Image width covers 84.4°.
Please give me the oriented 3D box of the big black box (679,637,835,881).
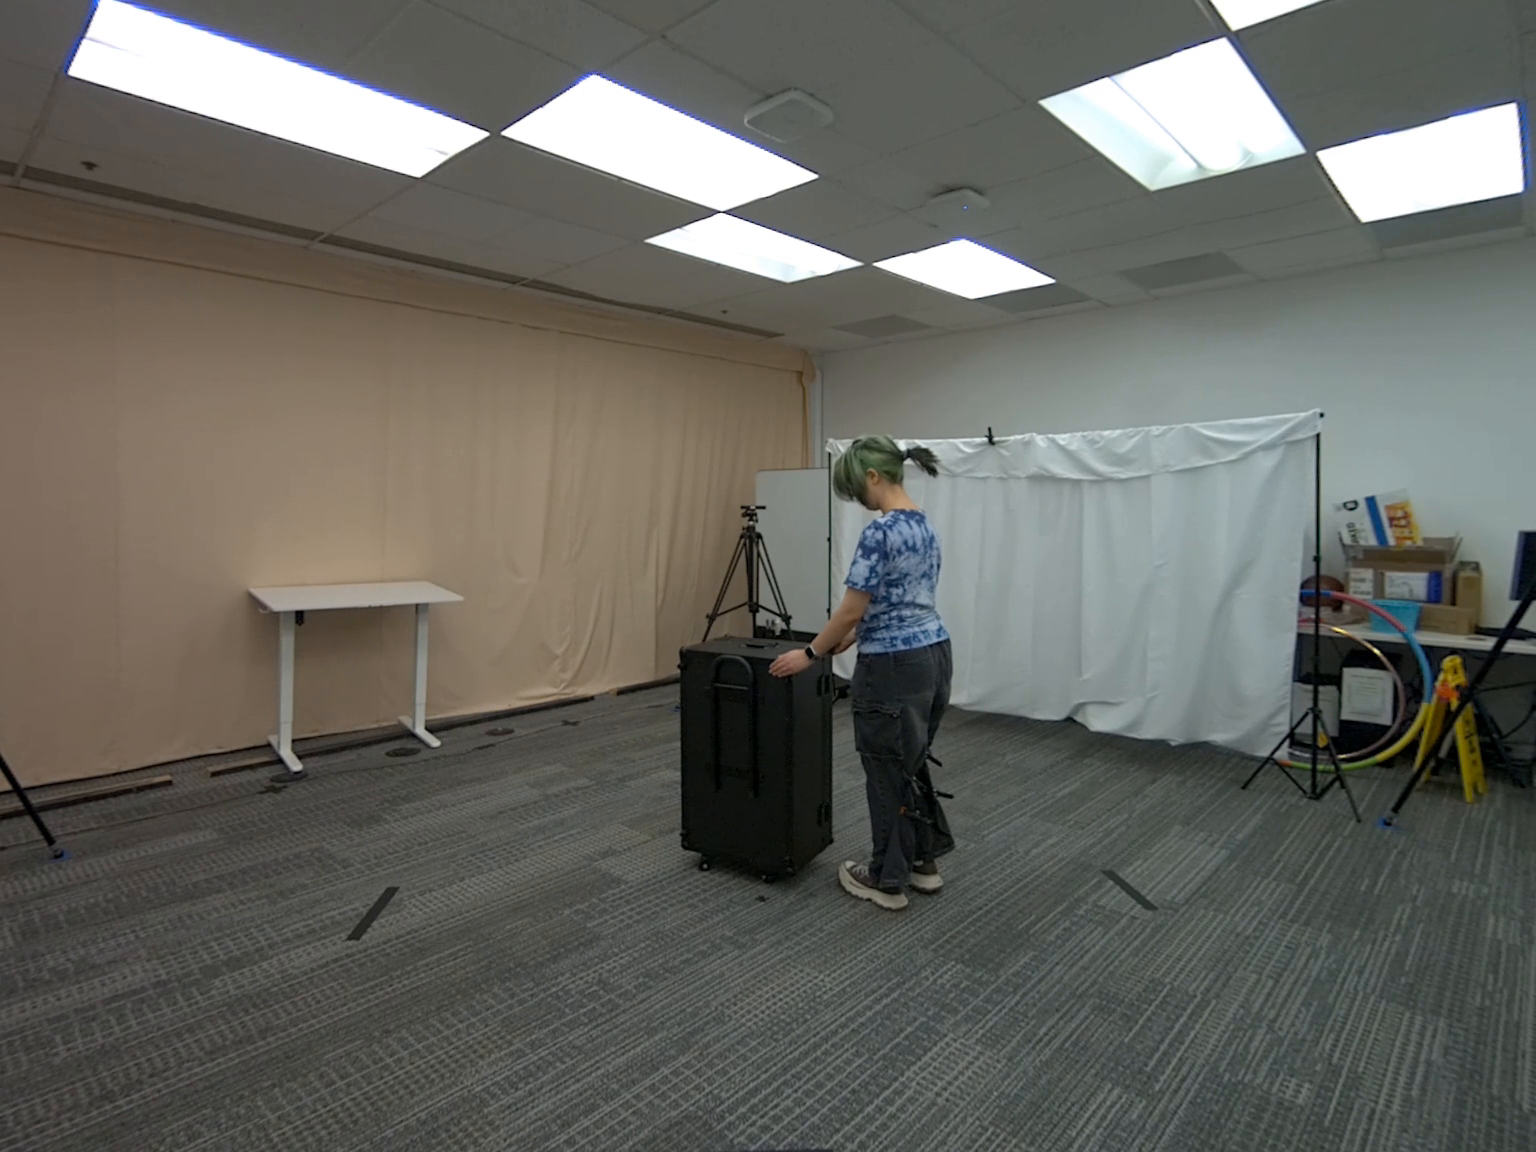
[{"bbox_3d":[-0.045,0.699,3.246,0.536,0.859,0.386,3,5,30],"label":"big black box"}]
